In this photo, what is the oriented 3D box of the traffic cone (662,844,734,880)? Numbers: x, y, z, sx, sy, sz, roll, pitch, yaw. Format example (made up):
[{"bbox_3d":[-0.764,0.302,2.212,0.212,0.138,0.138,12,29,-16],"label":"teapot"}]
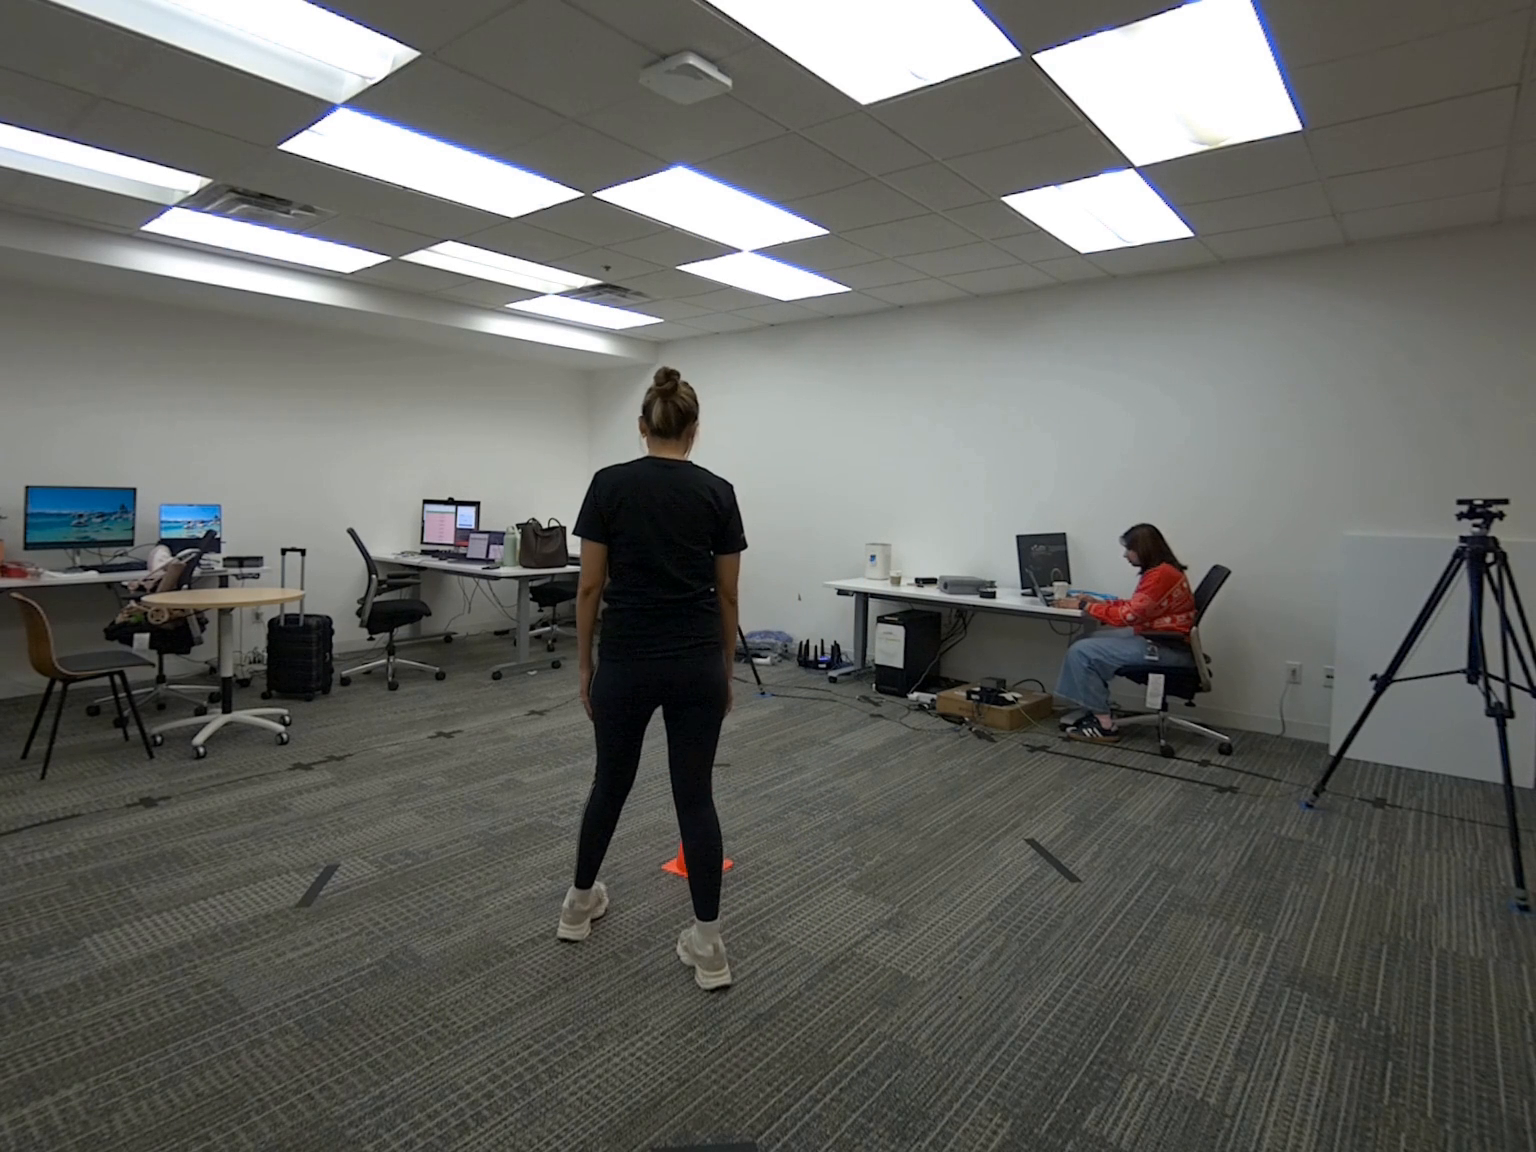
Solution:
[{"bbox_3d":[-0.258,0.881,3.127,0.210,0.383,0.199,5,4,32],"label":"traffic cone"}]
